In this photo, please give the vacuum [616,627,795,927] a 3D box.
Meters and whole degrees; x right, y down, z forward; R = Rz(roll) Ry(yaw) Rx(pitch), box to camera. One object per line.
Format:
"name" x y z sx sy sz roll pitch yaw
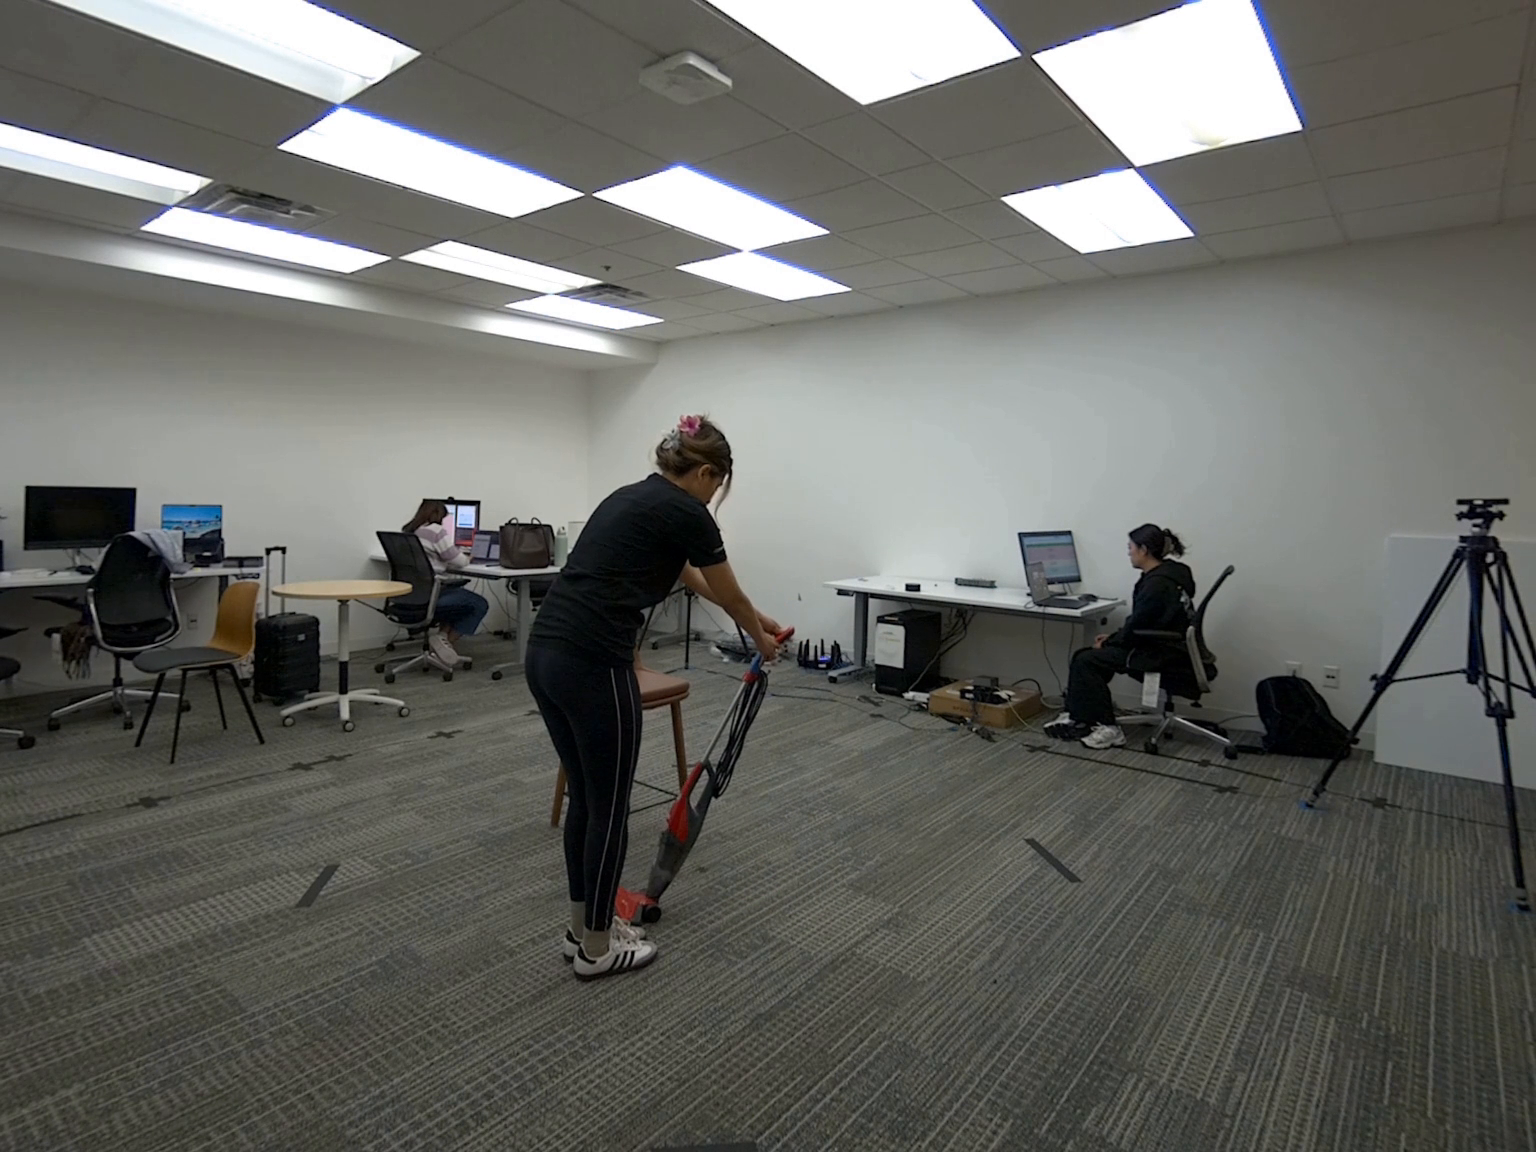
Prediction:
"vacuum" -0.176 0.633 2.825 0.140 1.051 0.259 34 -8 -20
